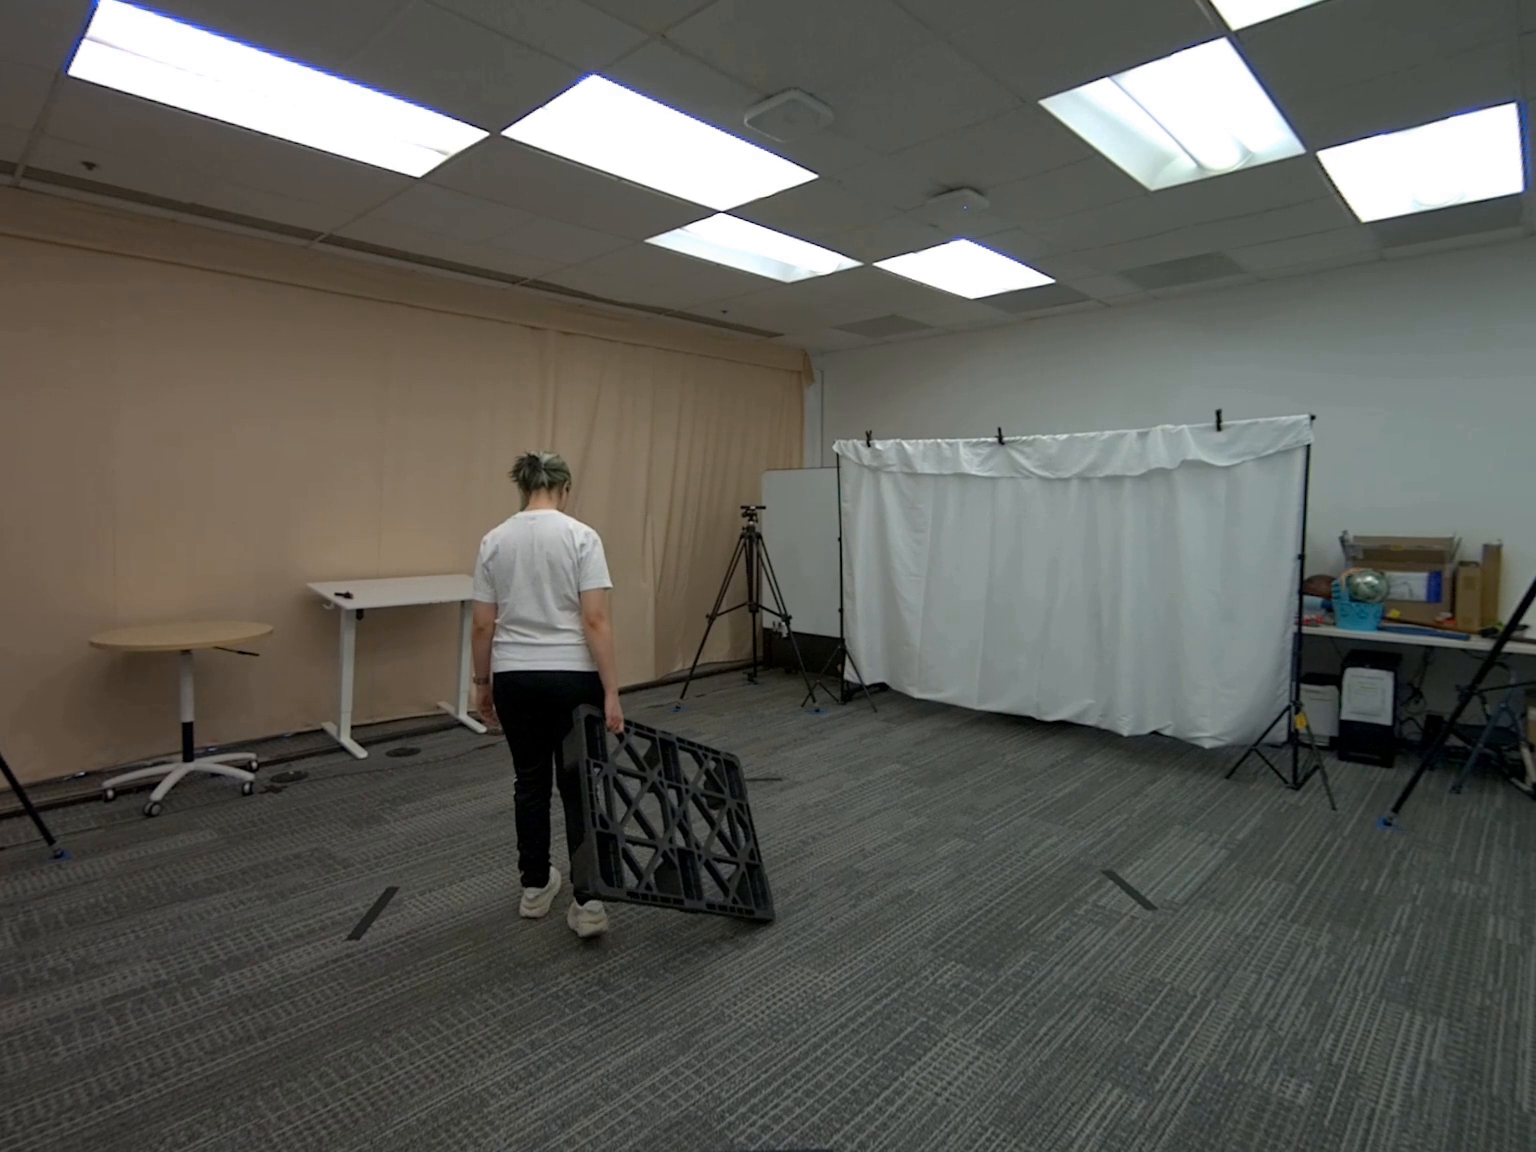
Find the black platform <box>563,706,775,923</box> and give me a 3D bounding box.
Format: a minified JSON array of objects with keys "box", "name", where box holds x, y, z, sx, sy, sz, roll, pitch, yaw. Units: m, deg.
[{"box":[-0.323,0.811,2.753,0.145,0.620,0.776,-35,-41,24],"name":"black platform"}]
